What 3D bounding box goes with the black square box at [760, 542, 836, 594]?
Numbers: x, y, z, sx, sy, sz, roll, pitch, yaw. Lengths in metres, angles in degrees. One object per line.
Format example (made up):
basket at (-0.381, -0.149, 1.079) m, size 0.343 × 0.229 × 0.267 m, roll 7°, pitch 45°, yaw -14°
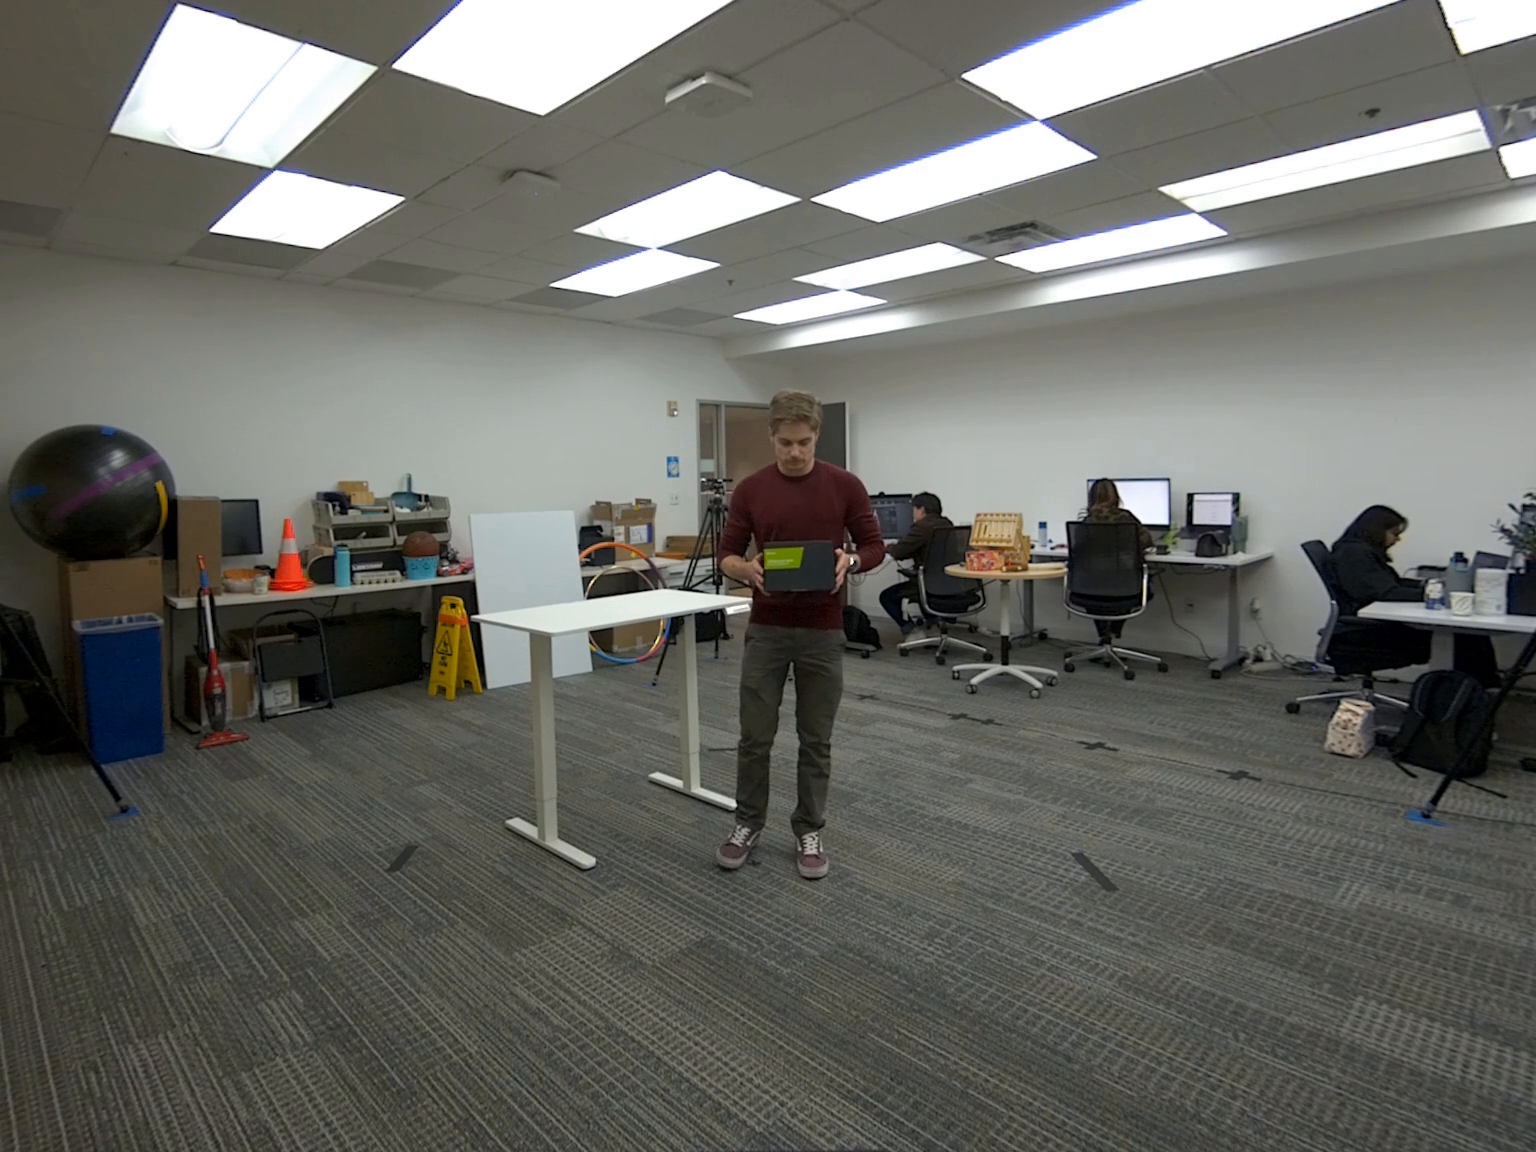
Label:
black square box at (0.096, -0.033, 2.813) m, size 0.229 × 0.156 × 0.216 m, roll -2°, pitch -1°, yaw 3°
